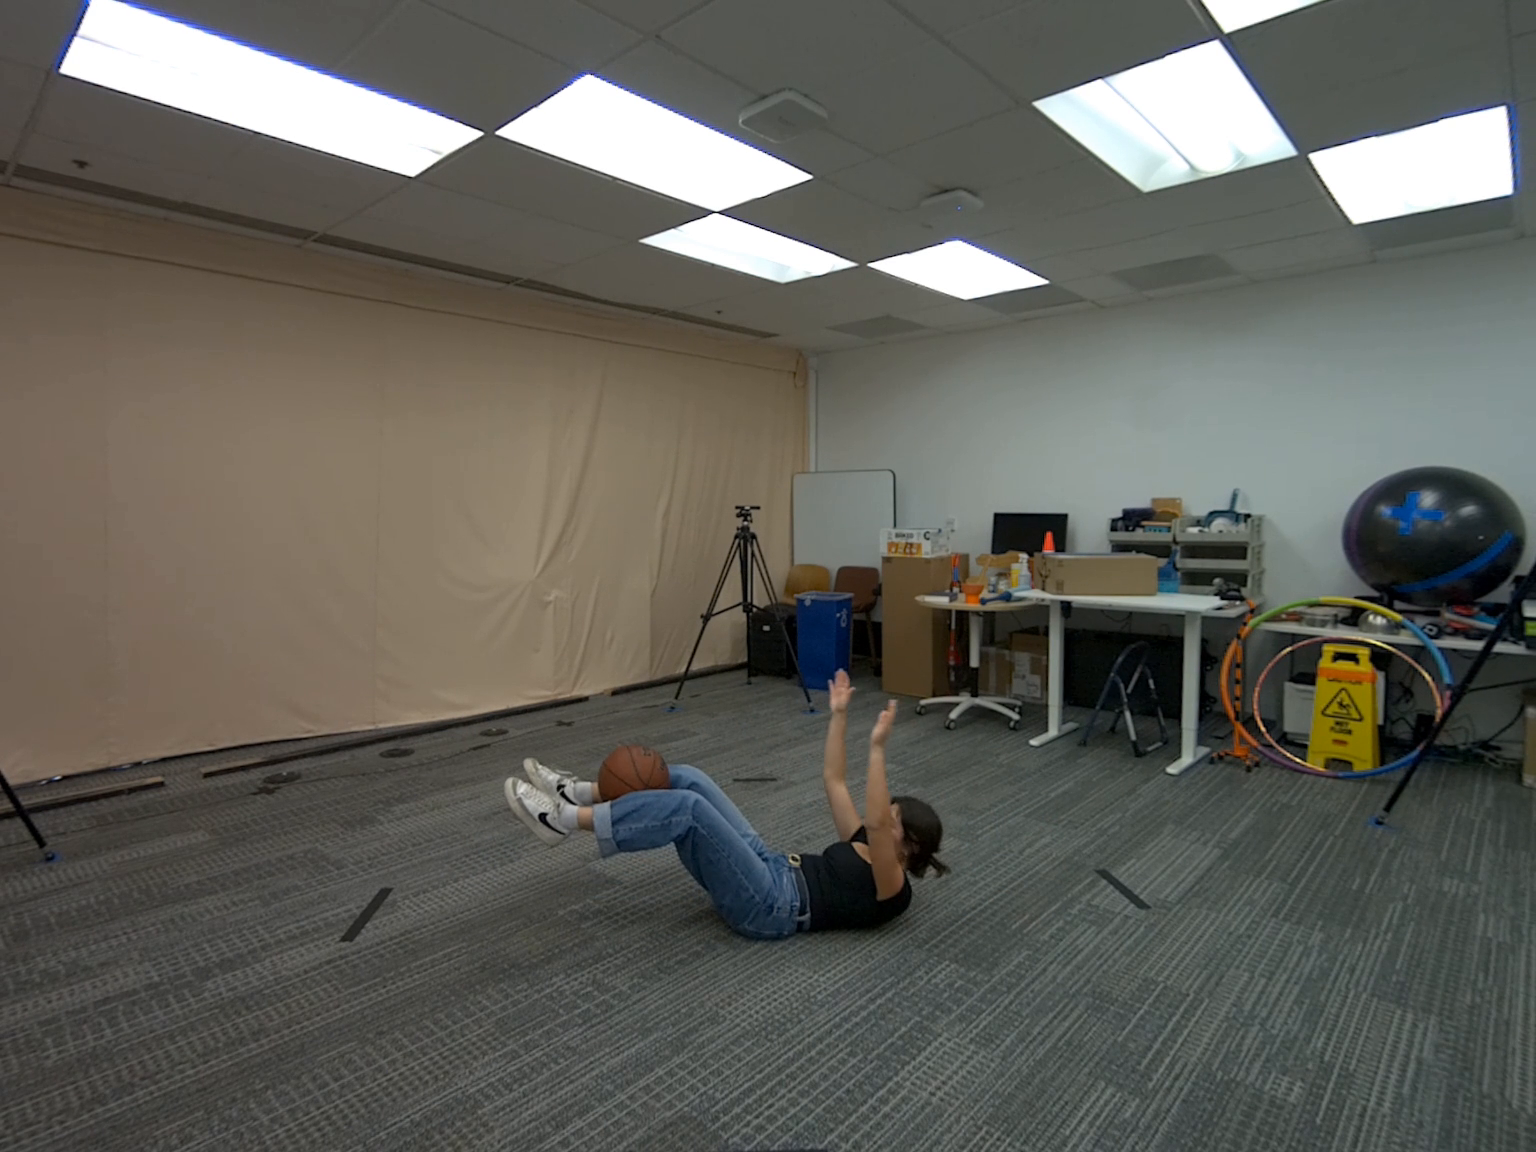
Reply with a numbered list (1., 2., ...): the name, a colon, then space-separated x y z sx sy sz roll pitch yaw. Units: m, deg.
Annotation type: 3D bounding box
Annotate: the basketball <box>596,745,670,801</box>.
1. basketball: -0.441 0.676 2.789 0.236 0.235 0.237 0 4 -2
